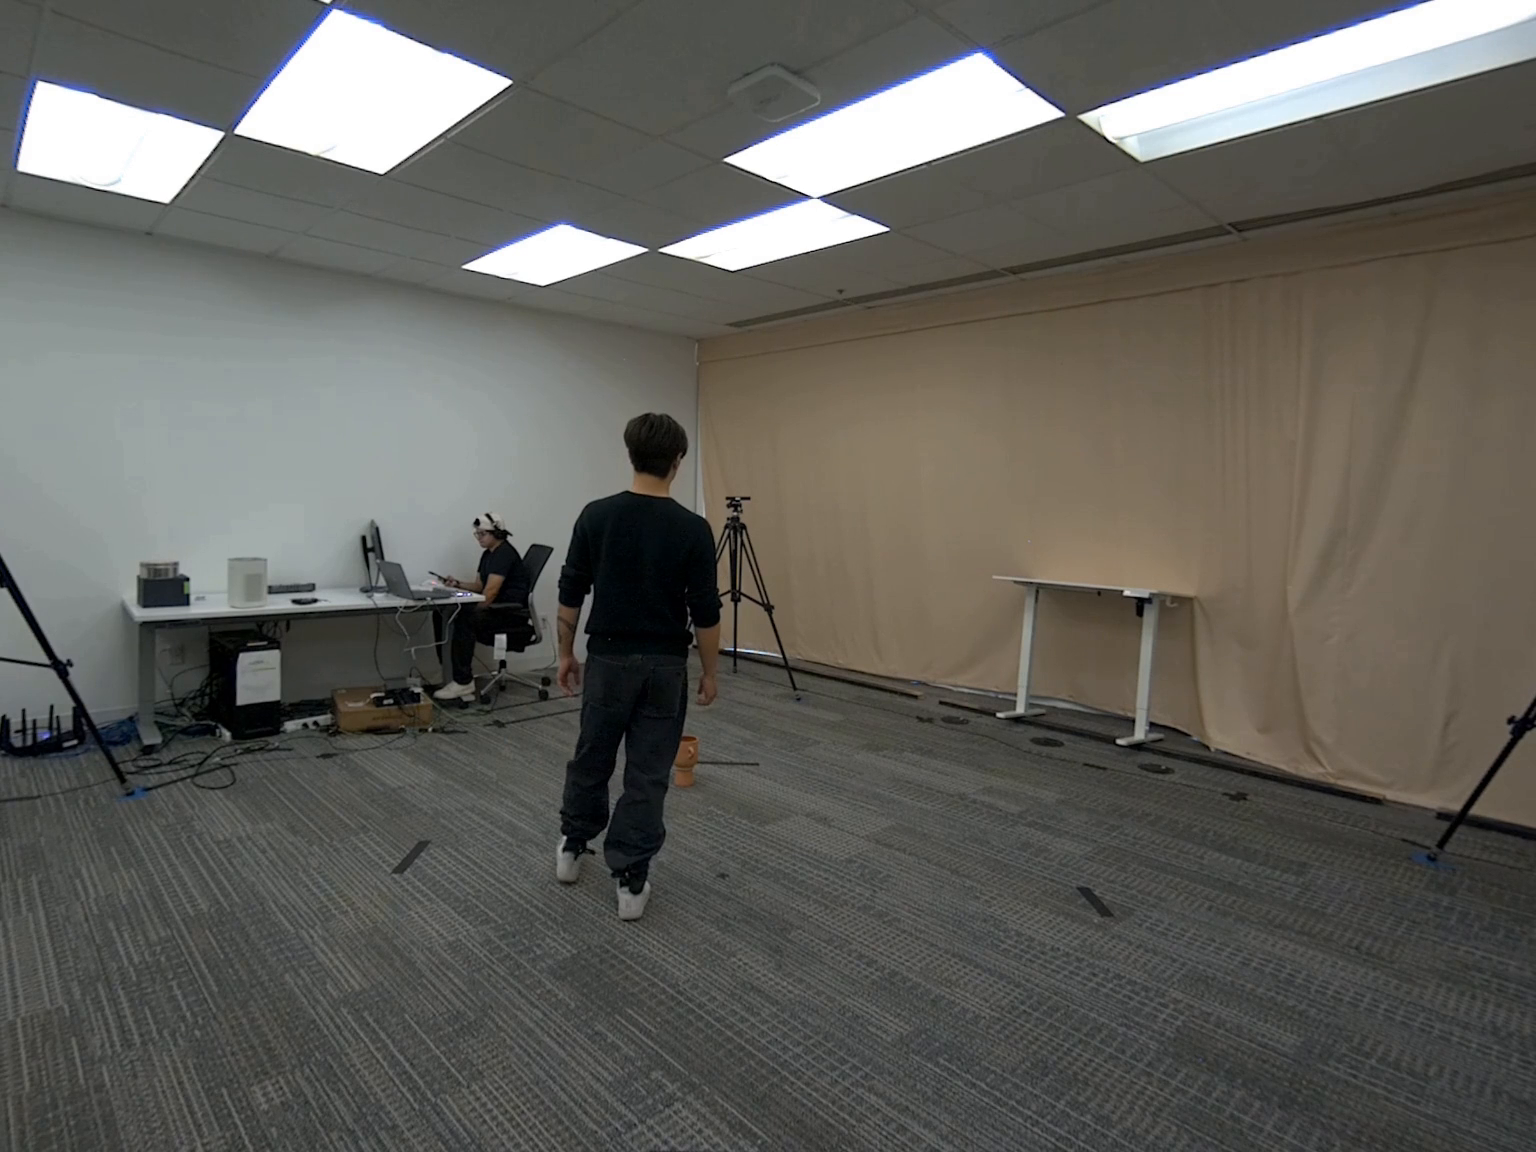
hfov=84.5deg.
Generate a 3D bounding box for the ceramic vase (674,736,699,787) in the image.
[{"bbox_3d":[-0.422,0.900,4.116,0.135,0.219,0.158,3,3,7],"label":"ceramic vase"}]
